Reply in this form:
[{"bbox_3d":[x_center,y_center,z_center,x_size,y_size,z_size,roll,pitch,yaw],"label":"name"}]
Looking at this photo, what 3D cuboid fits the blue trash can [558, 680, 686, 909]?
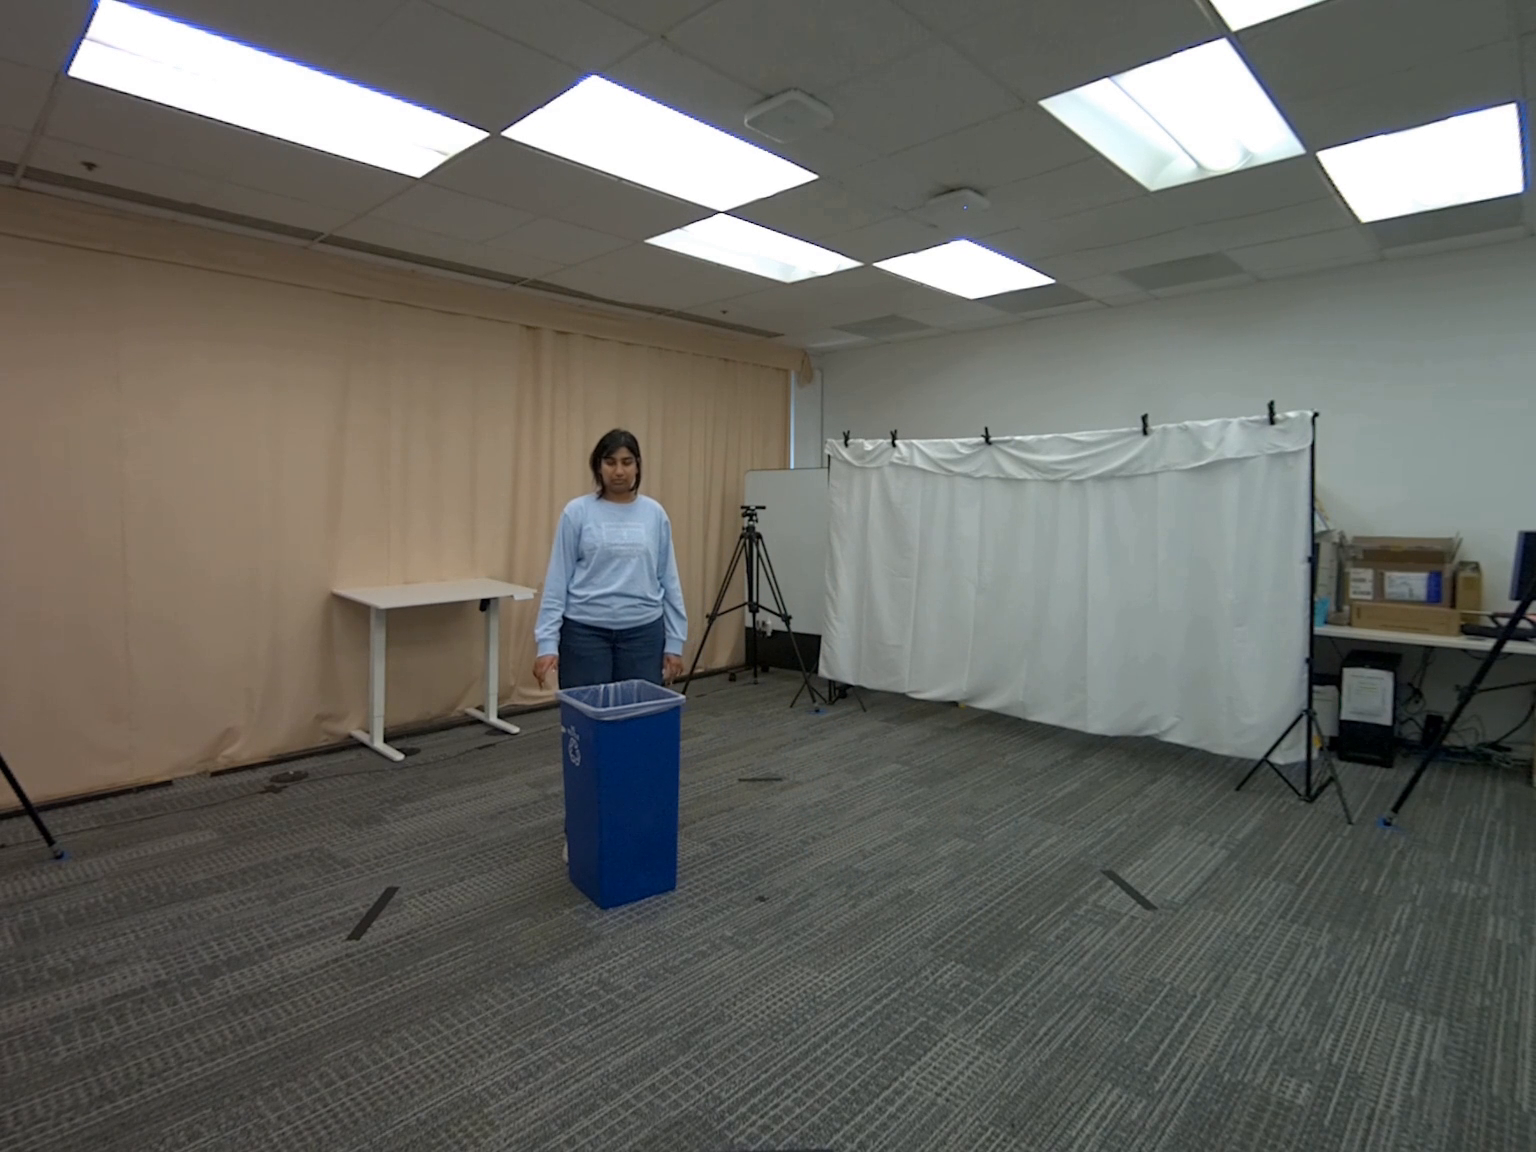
[{"bbox_3d":[-0.531,0.782,3.084,0.367,0.712,0.386,-3,4,-35],"label":"blue trash can"}]
